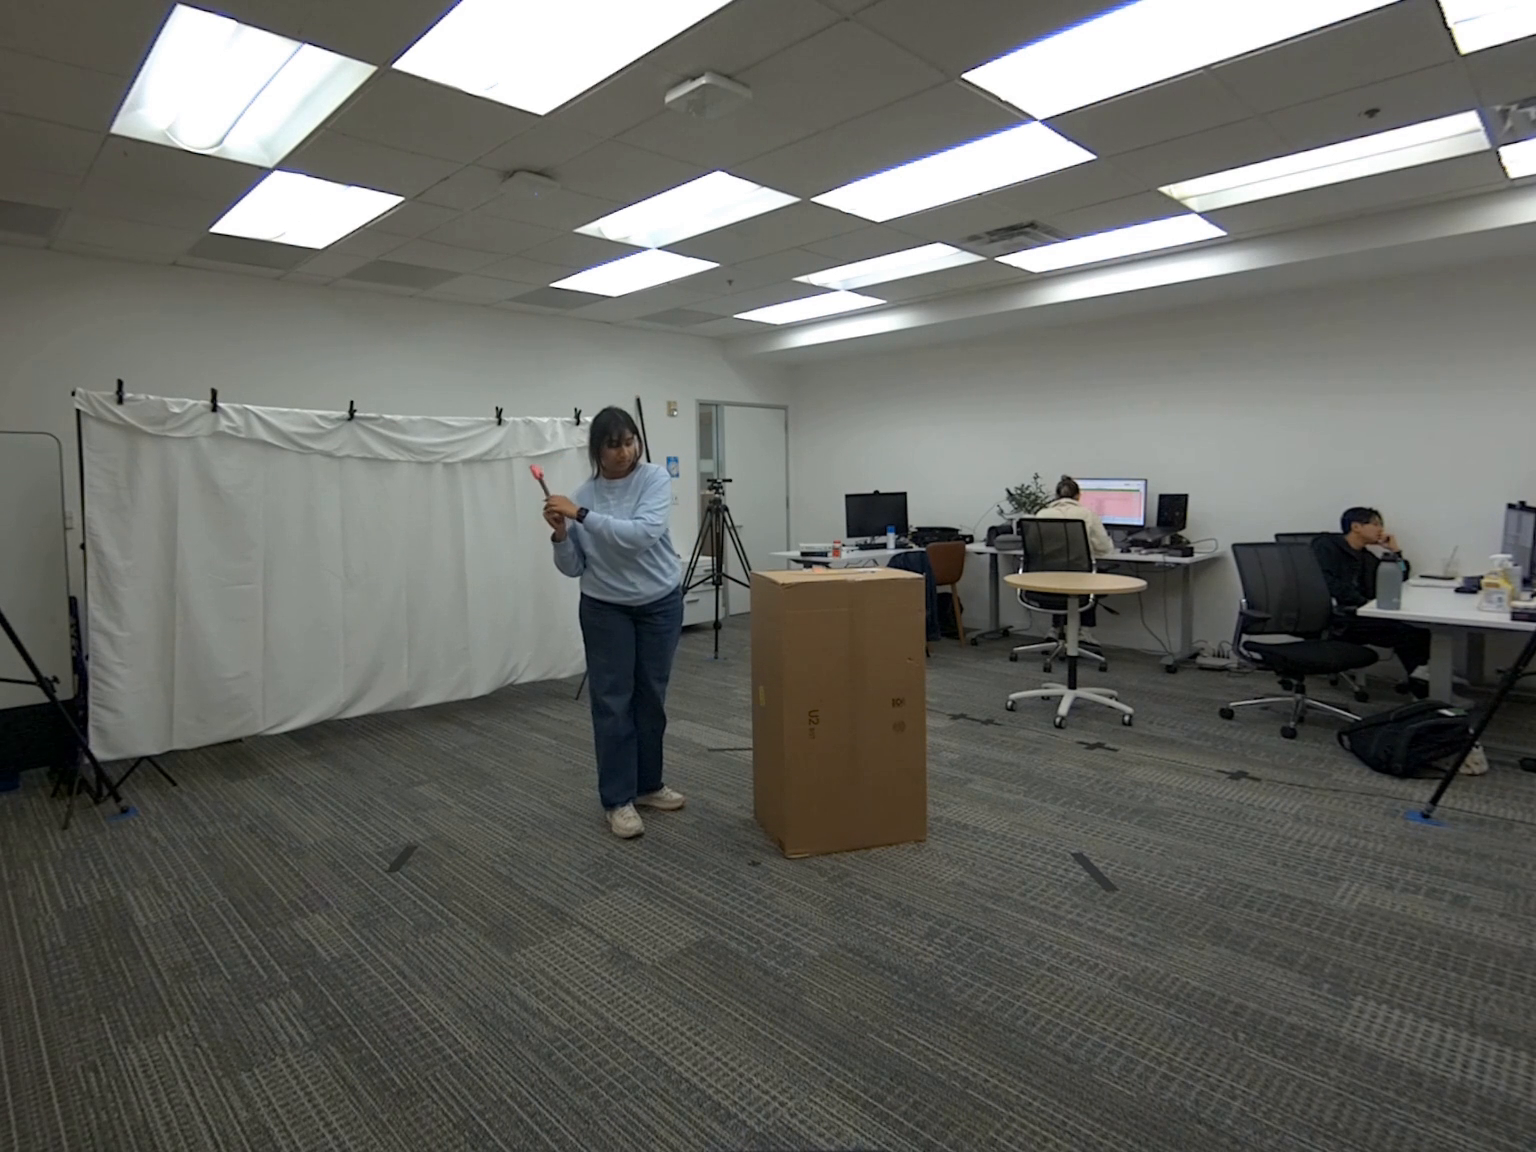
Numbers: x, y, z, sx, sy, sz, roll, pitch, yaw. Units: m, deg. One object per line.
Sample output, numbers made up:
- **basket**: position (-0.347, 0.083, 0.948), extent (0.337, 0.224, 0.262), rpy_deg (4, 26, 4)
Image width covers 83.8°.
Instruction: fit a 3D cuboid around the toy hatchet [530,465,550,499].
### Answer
- **toy hatchet**: position (-0.840, -0.324, 3.272), extent (0.029, 0.279, 0.127), rpy_deg (-28, -32, -4)
